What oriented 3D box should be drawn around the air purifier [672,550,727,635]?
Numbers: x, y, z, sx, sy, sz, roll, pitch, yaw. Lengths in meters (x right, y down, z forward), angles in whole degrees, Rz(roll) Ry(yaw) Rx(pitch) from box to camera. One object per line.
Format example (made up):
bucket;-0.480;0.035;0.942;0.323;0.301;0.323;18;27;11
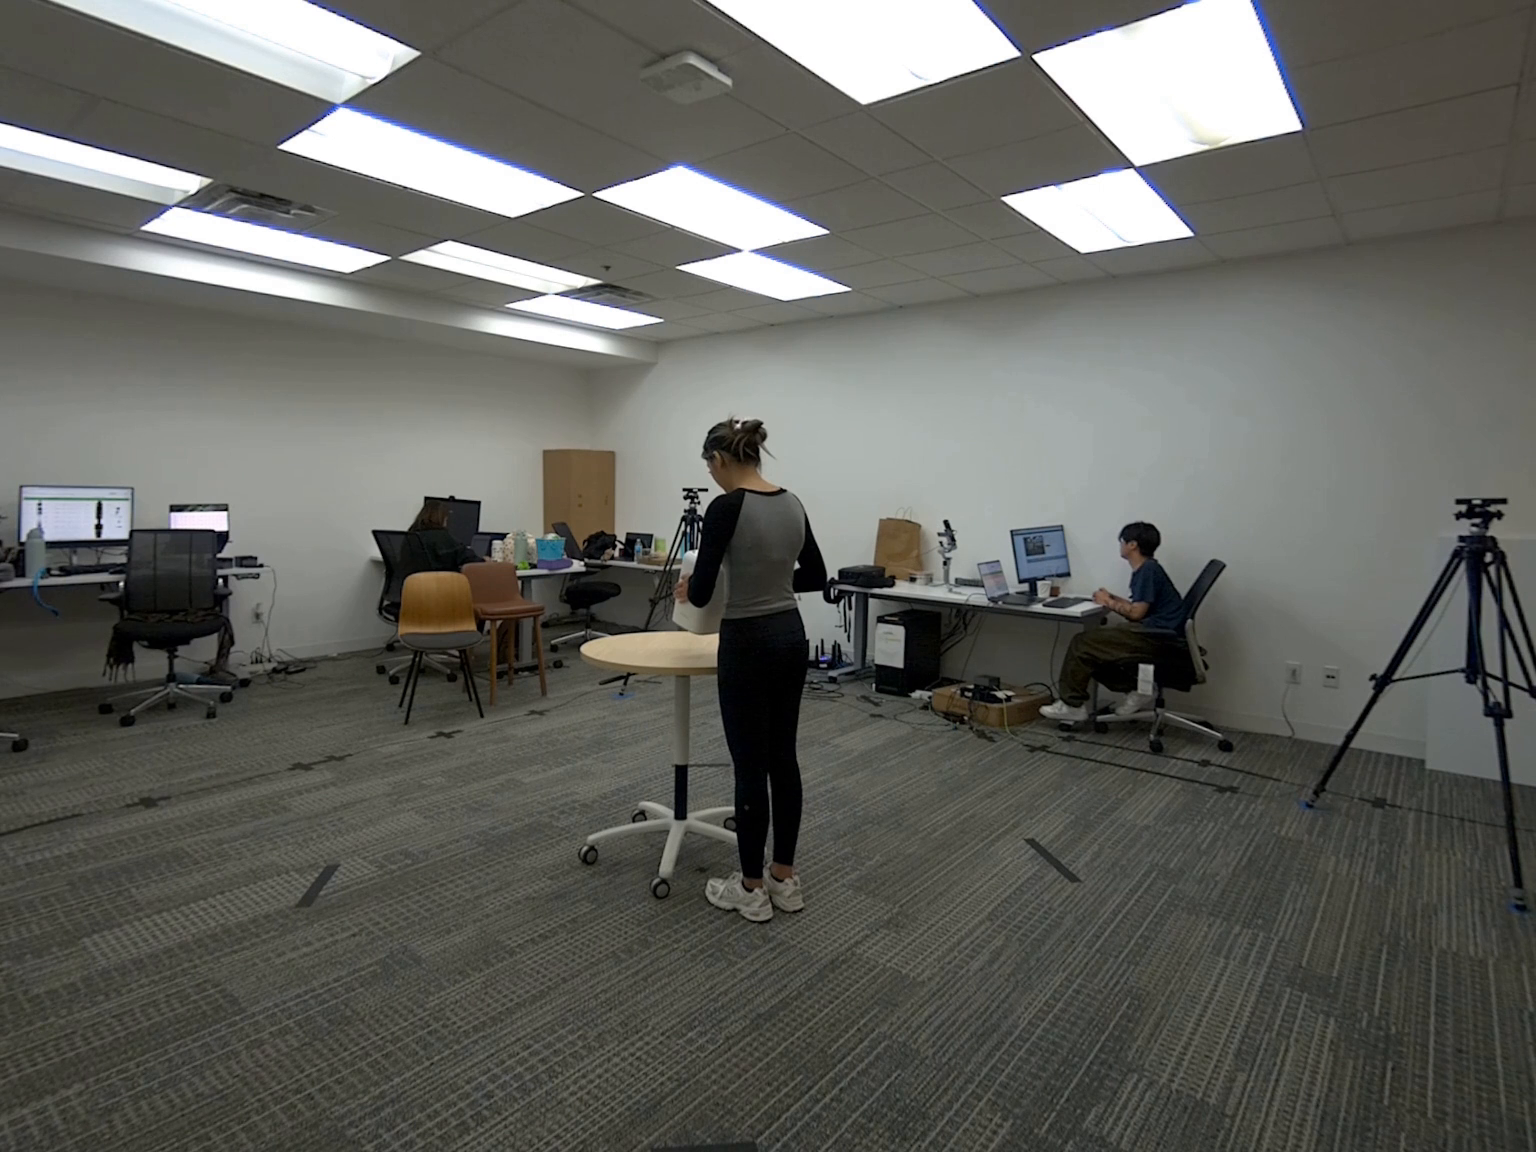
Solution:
air purifier;-0.231;0.048;3.017;0.178;0.262;0.167;23;19;38
